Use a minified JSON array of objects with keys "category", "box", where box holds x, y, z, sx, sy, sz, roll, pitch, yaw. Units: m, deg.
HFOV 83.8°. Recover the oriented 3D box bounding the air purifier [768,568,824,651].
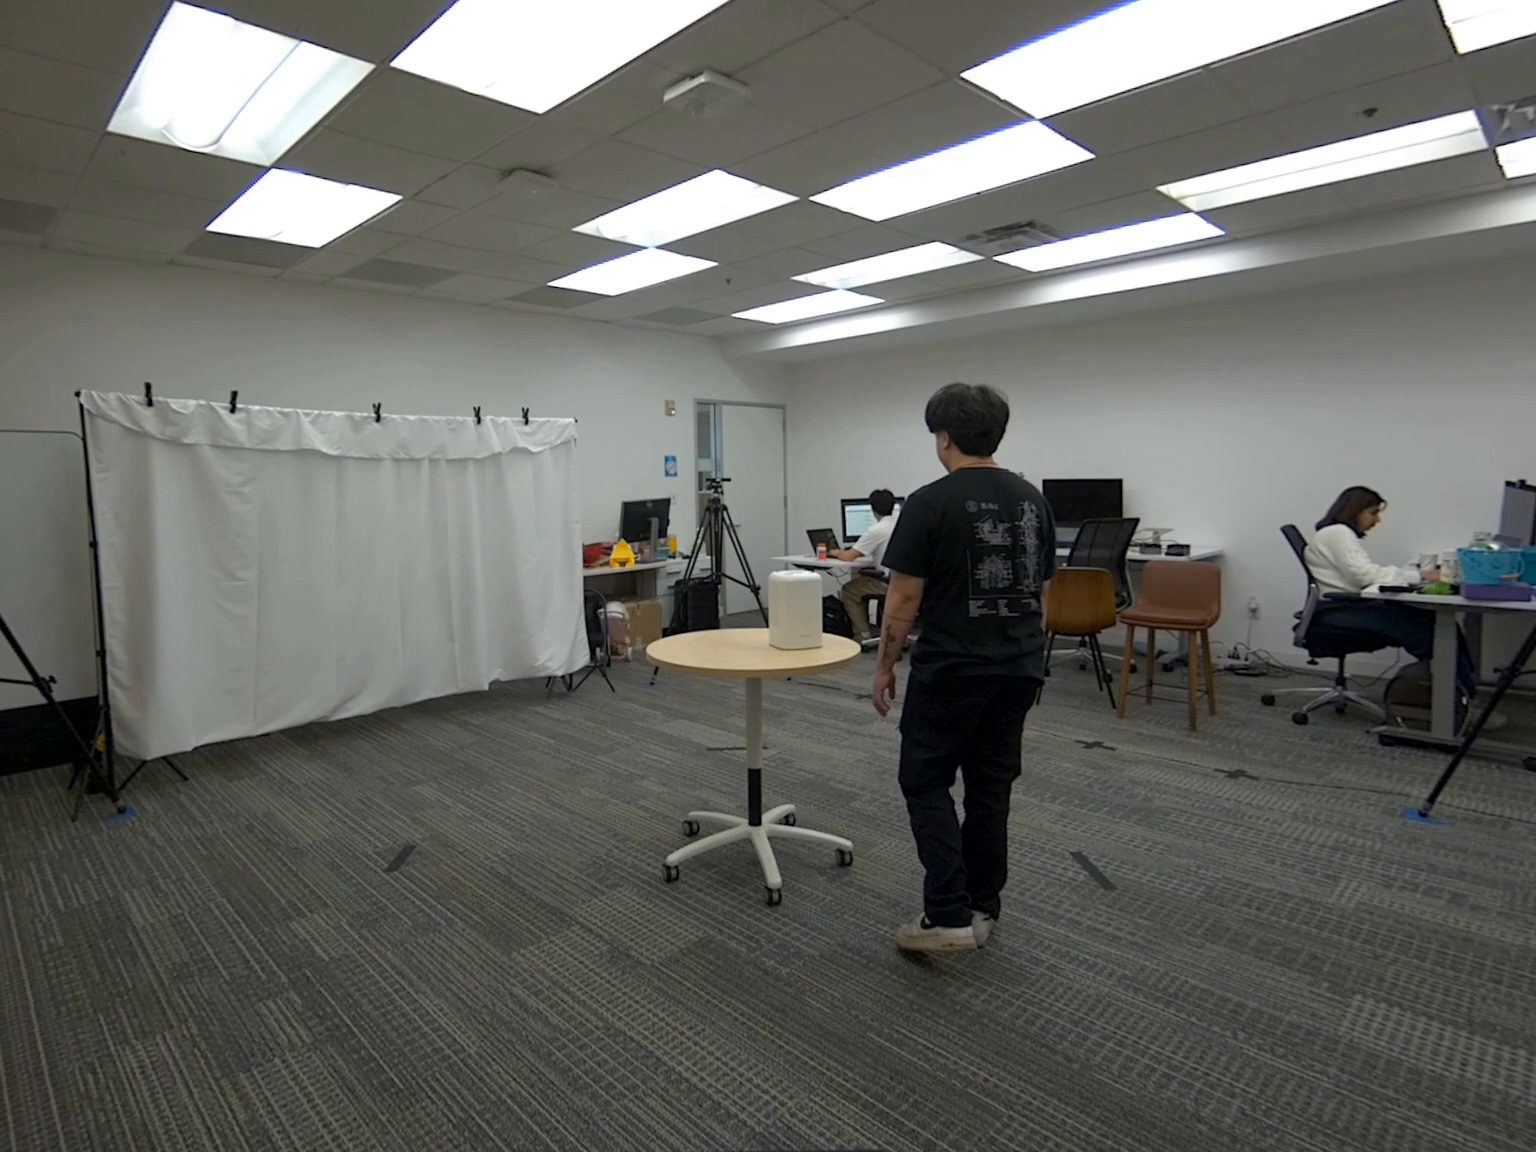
[{"category":"air purifier","box":[0.104,0.117,3.073,0.168,0.265,0.175,0,4,-19]}]
